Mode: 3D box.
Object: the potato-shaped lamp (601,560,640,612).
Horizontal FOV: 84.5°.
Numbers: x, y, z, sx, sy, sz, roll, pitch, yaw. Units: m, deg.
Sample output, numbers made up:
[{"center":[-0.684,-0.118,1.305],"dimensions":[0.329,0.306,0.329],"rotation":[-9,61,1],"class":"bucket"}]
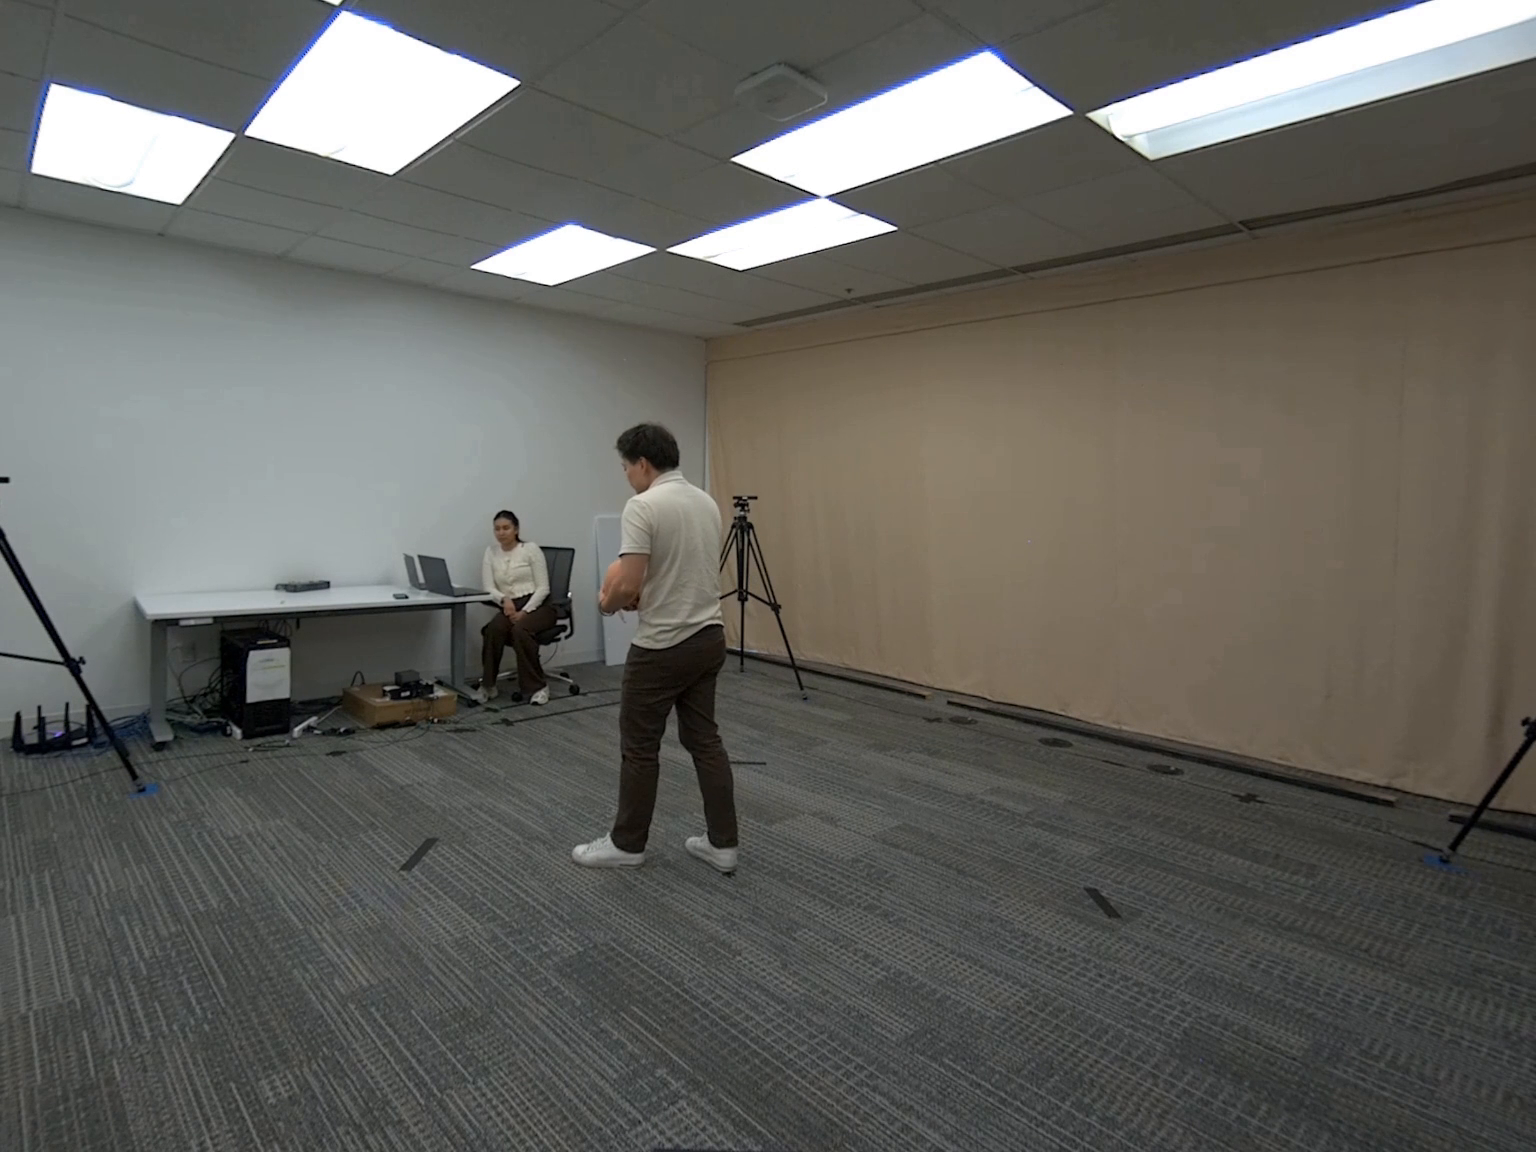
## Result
[{"center":[-0.531,0.020,3.154],"dimensions":[0.165,0.174,0.194],"rotation":[8,-33,1],"class":"potato-shaped lamp"}]
